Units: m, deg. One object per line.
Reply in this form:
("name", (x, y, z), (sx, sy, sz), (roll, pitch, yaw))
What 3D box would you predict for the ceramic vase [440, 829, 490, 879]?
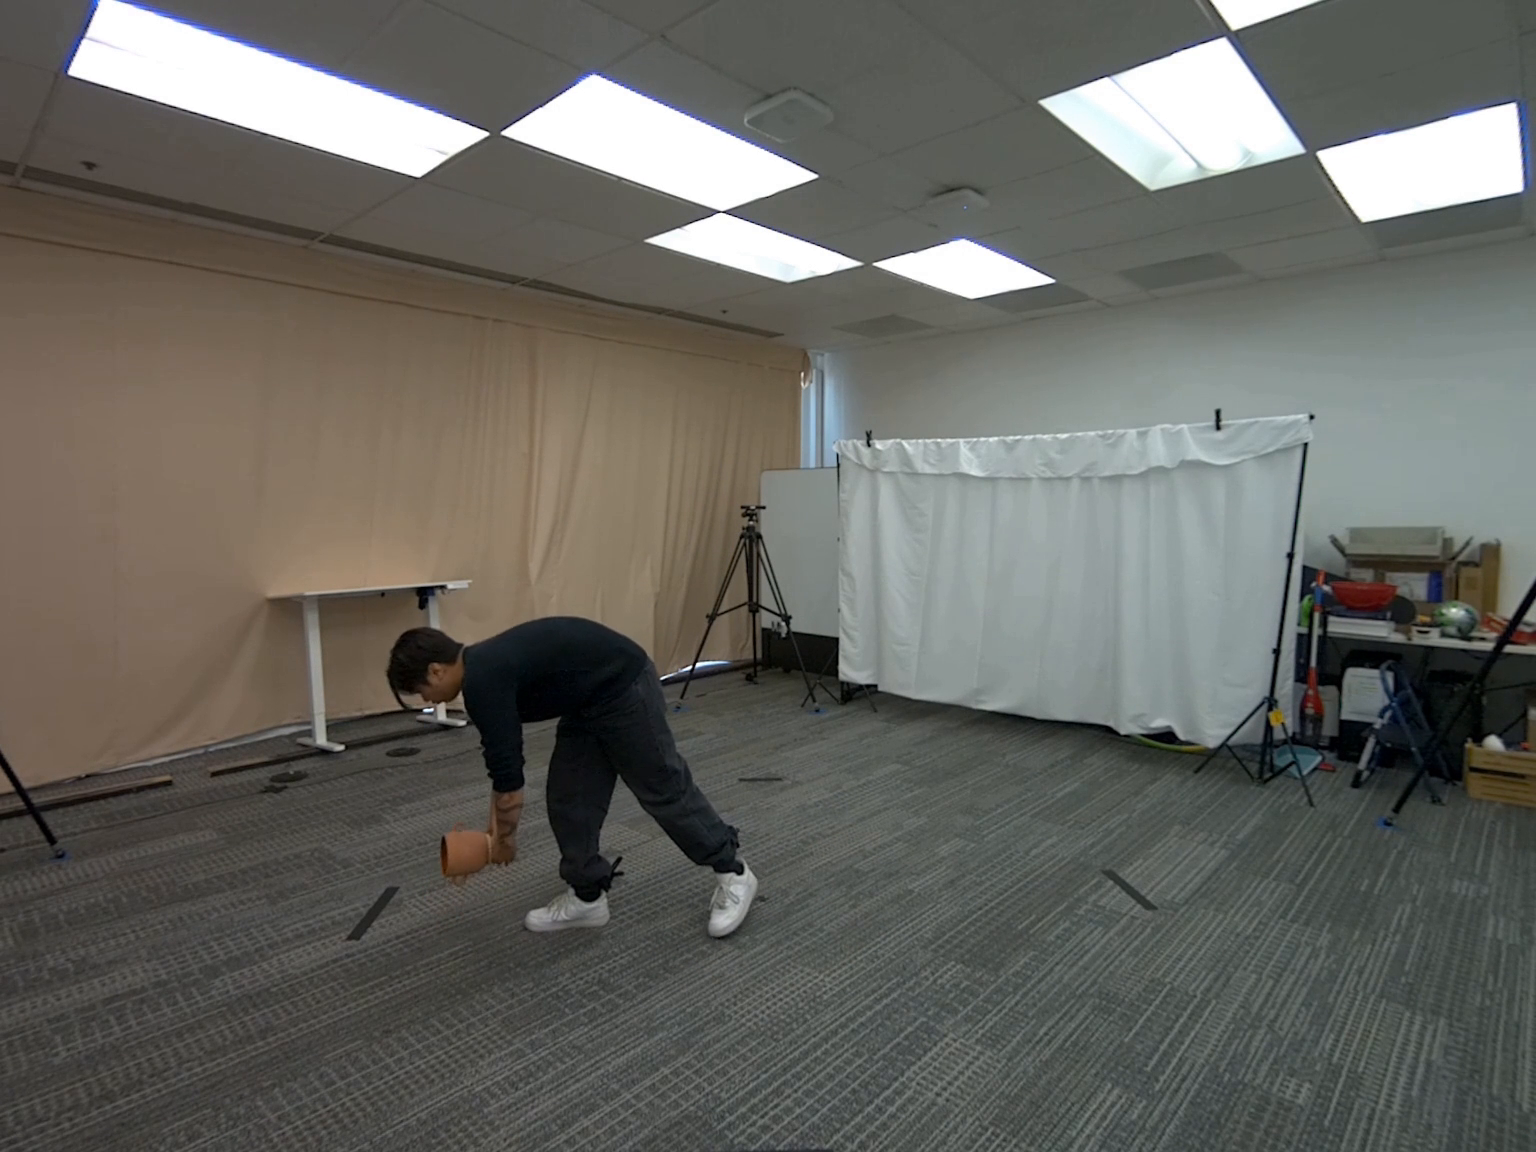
("ceramic vase", (-0.935, 0.884, 2.725), (0.214, 0.158, 0.139), (2, 30, -28))
